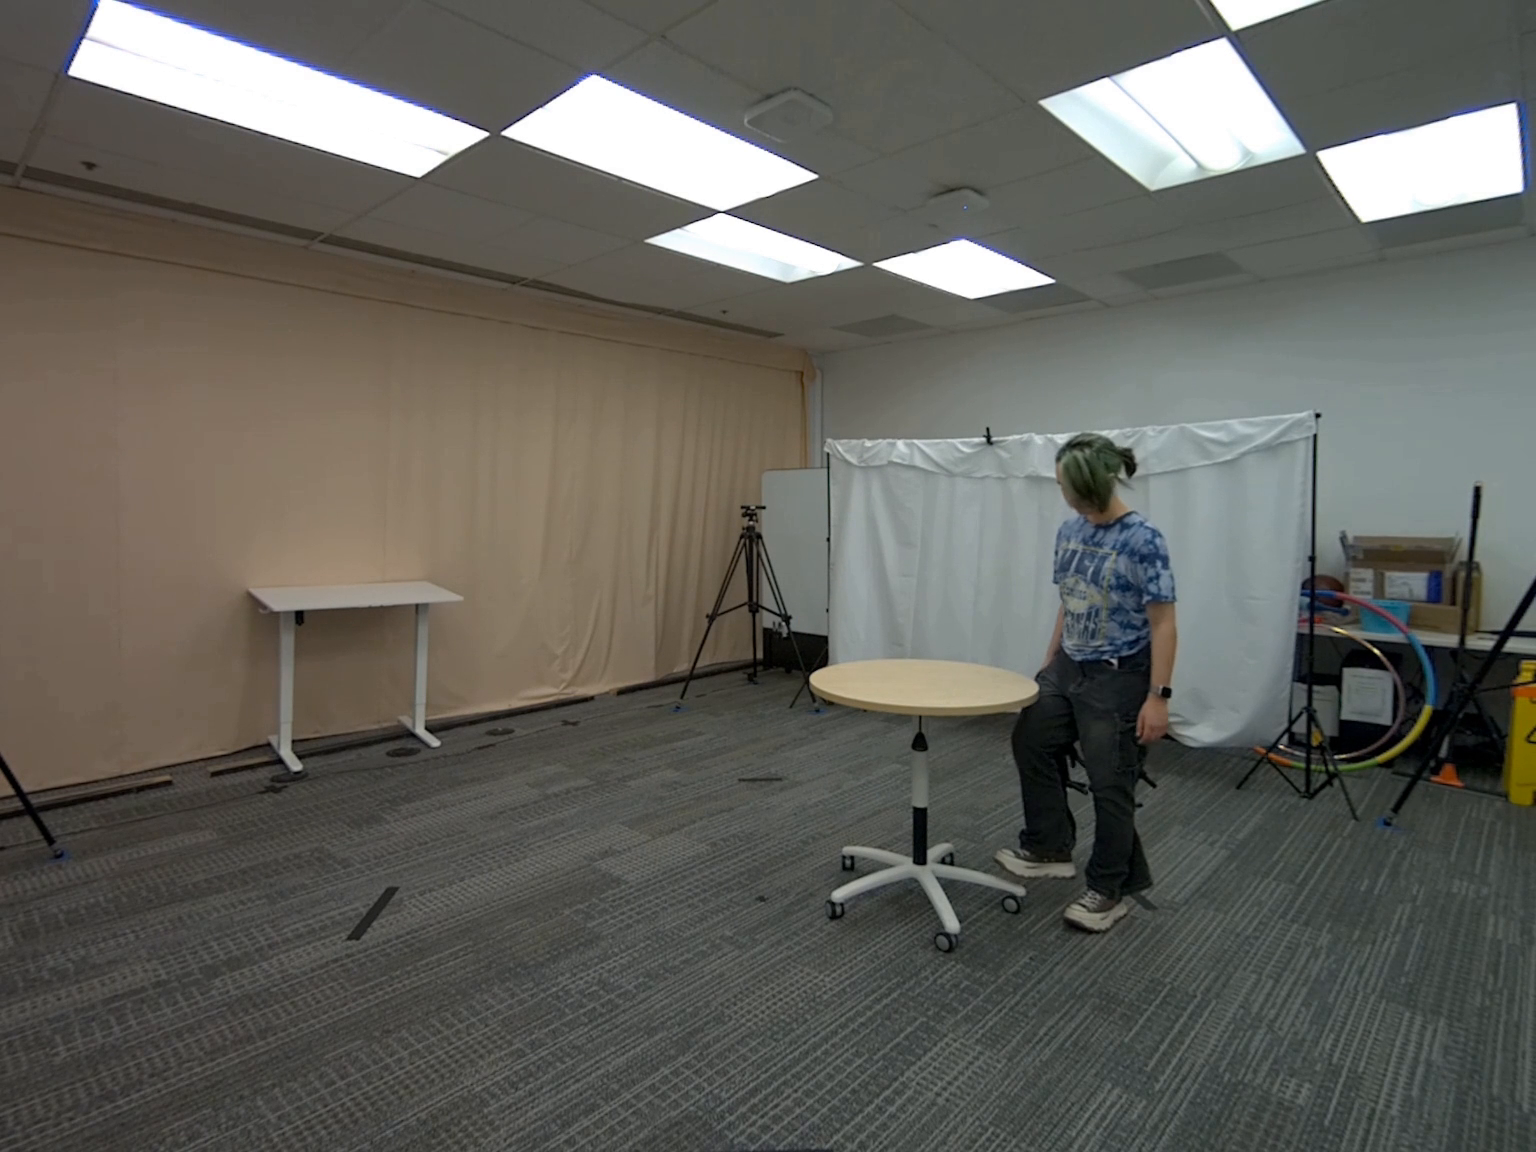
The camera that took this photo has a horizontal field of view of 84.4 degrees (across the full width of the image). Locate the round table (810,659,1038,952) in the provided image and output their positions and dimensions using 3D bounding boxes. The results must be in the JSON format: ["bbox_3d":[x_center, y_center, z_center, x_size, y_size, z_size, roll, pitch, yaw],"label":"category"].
[{"bbox_3d":[0.524,0.758,2.940,0.763,0.792,0.767,0,4,-2],"label":"round table"}]
